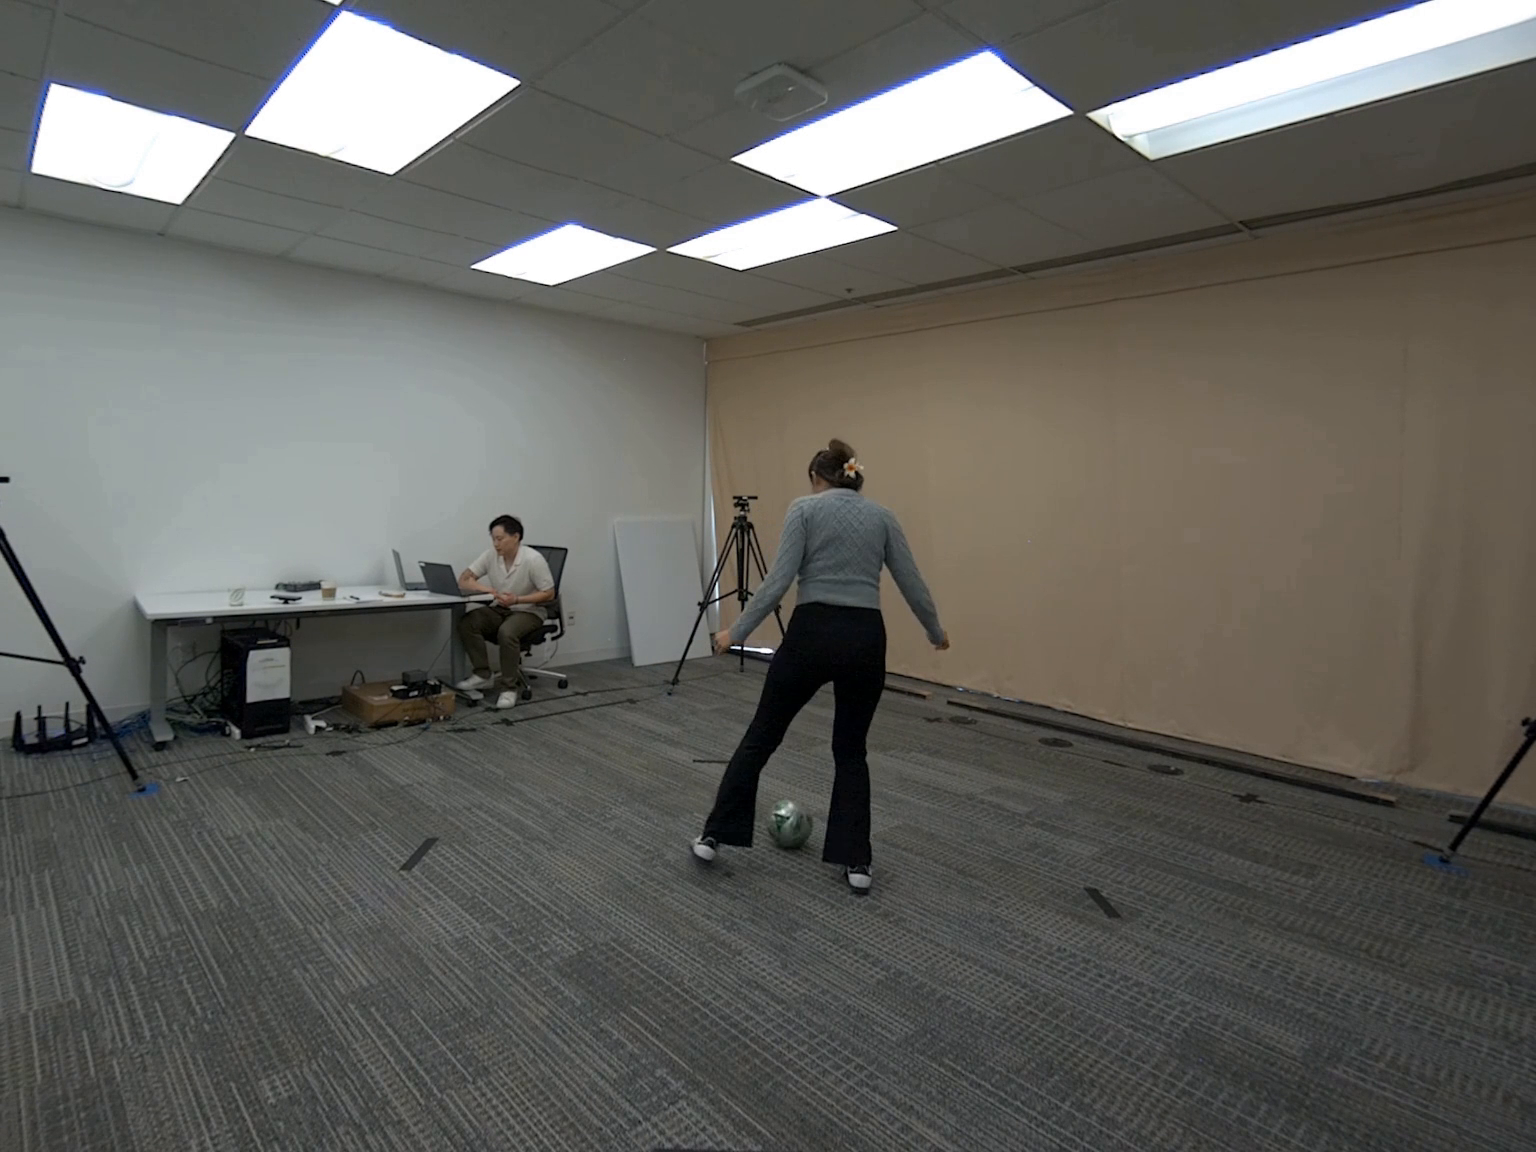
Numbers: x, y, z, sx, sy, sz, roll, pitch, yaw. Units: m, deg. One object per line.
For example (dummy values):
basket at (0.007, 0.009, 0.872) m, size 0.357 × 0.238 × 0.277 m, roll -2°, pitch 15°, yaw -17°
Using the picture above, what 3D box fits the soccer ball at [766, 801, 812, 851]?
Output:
soccer ball at (0.077, 0.988, 3.369) m, size 0.187 × 0.187 × 0.188 m, roll 1°, pitch 4°, yaw -1°
